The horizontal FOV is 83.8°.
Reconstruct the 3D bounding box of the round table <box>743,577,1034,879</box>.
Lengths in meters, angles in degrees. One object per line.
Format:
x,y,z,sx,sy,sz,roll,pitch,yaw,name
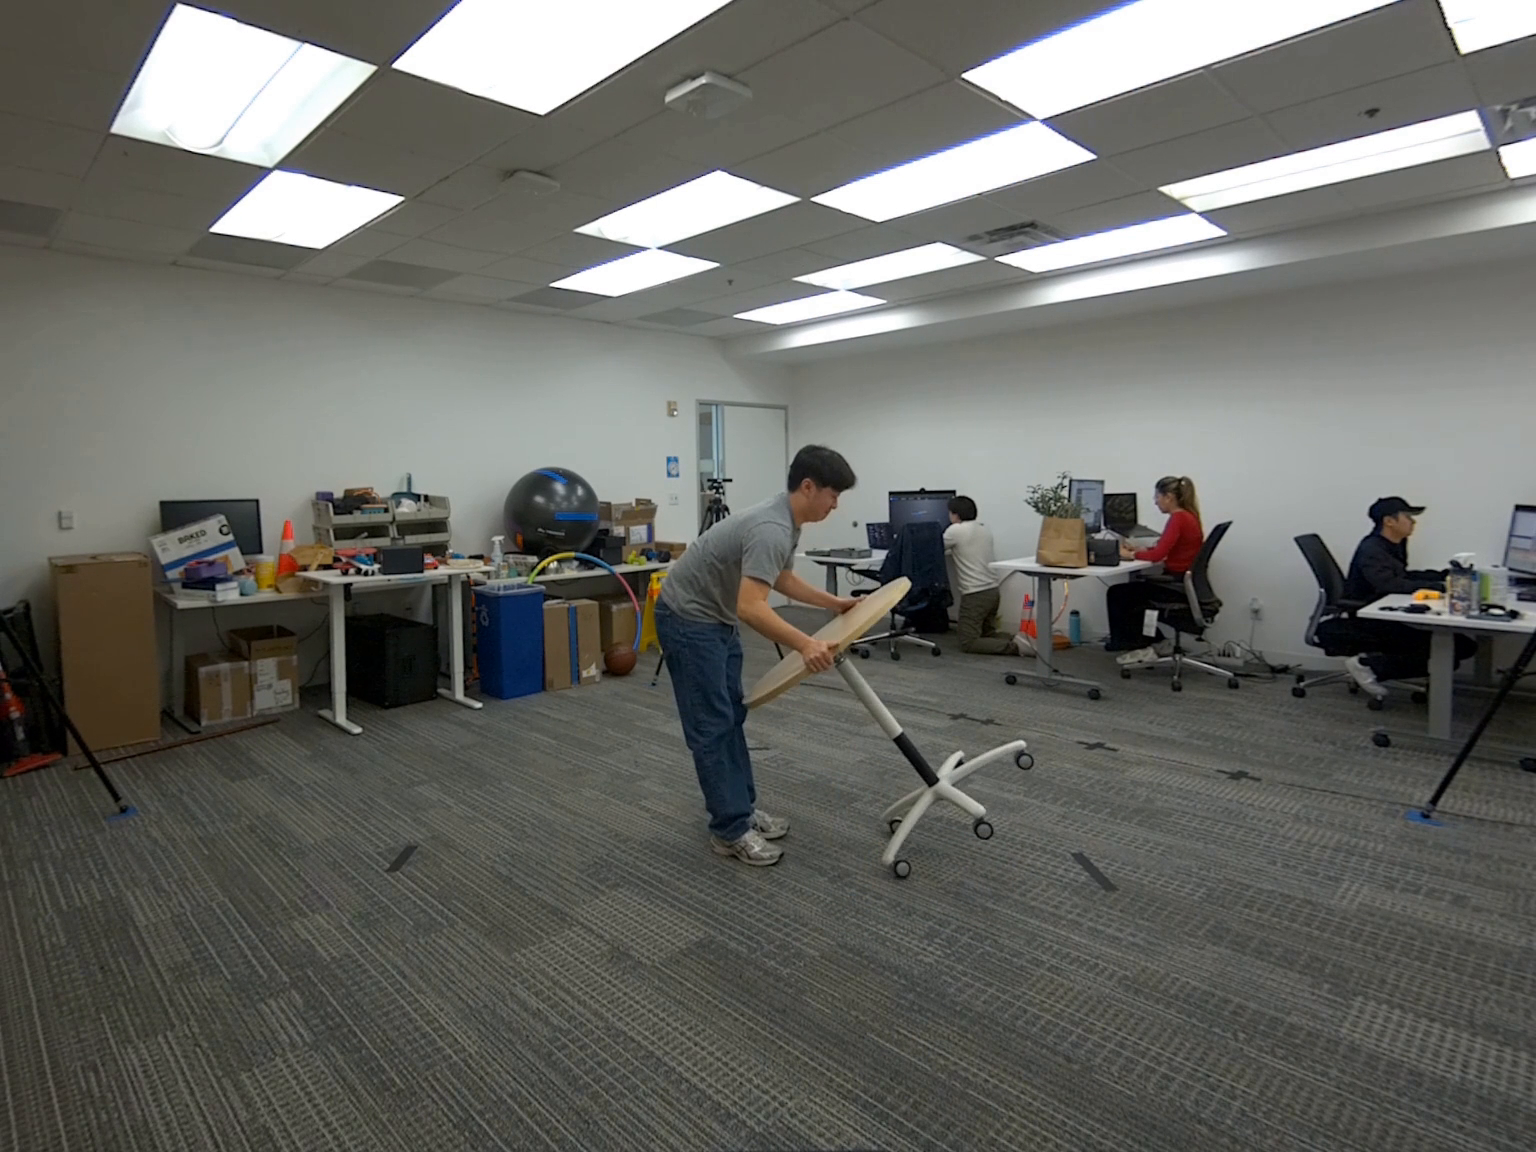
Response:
0.459,0.555,3.143,0.763,0.798,0.762,-36,-2,-3,round table
